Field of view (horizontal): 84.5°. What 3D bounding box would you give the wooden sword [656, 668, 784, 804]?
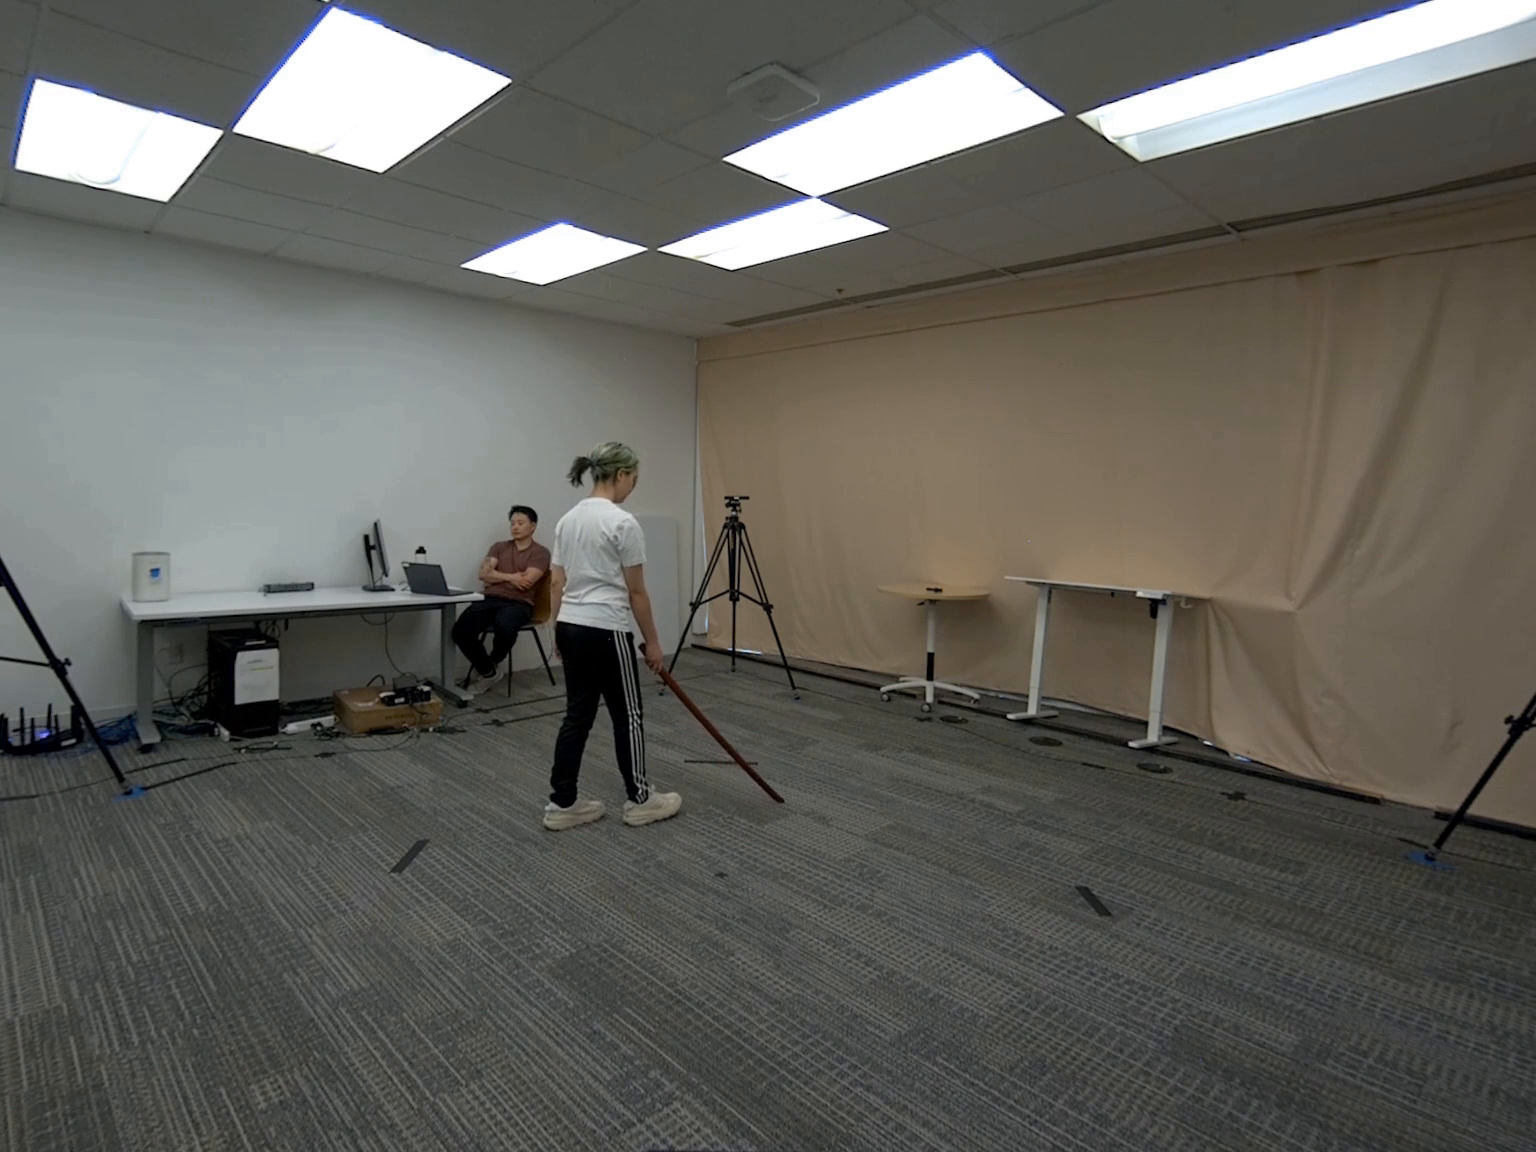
[{"bbox_3d":[-0.258,0.676,3.747,0.052,1.006,0.024,-15,30,53],"label":"wooden sword"}]
